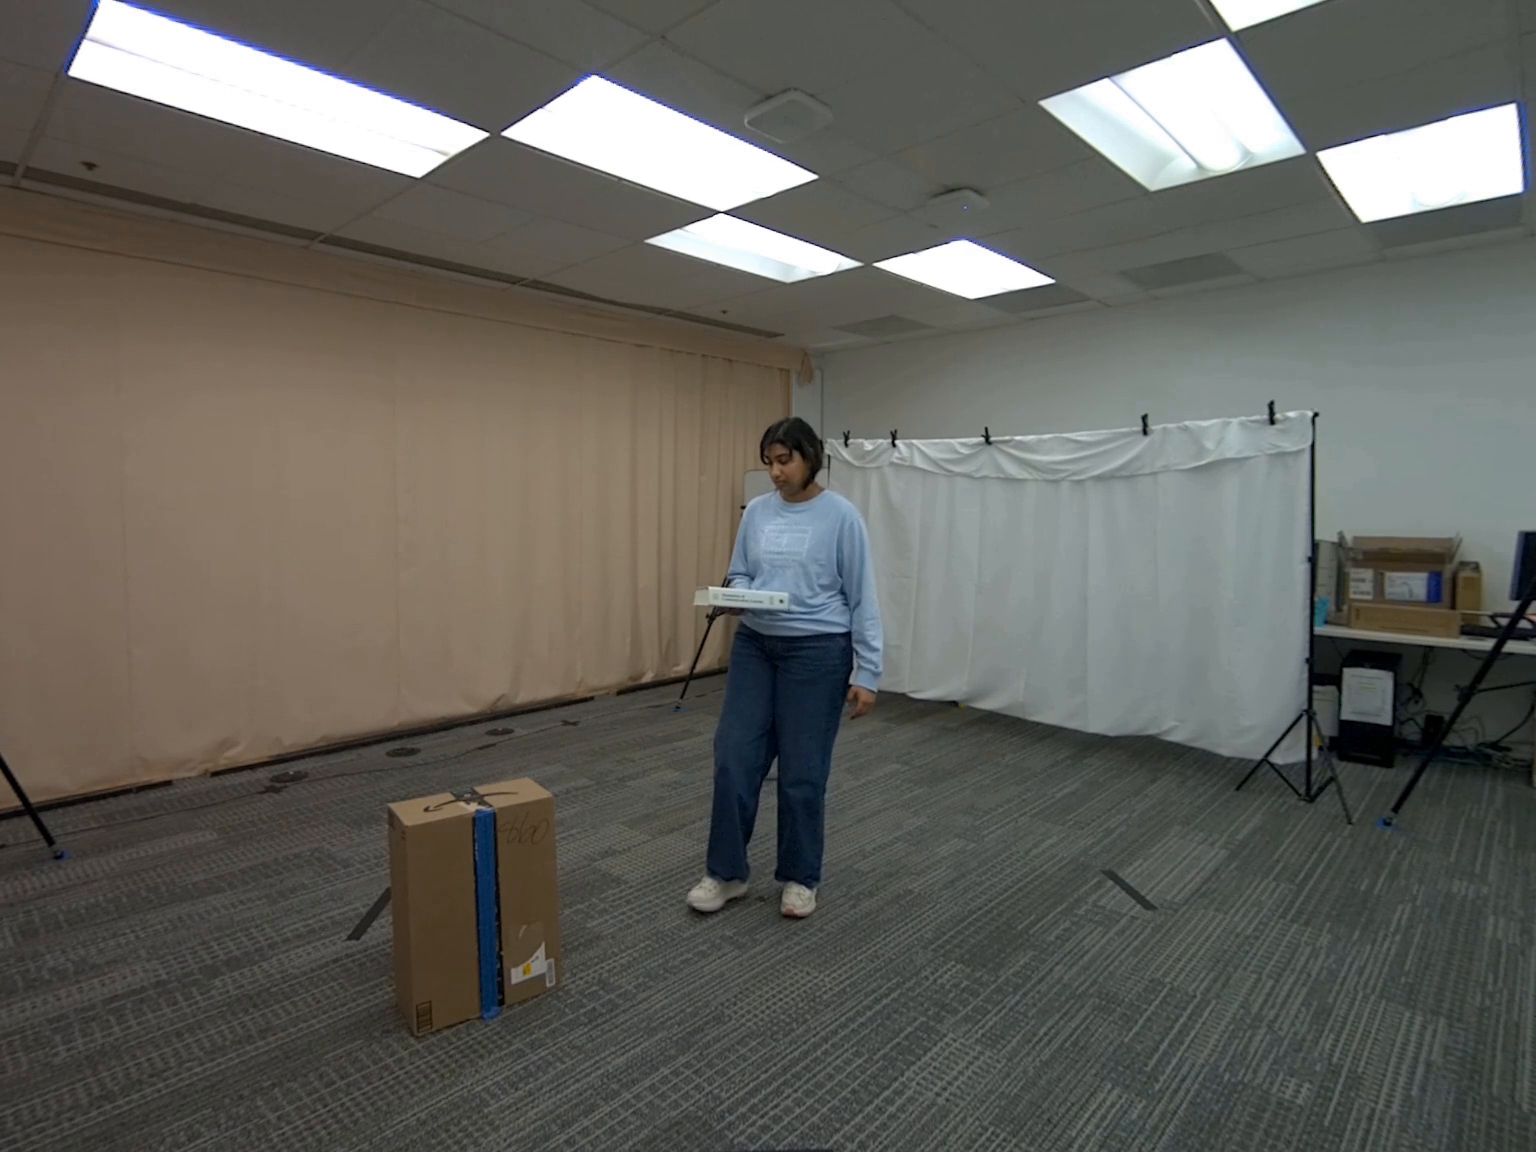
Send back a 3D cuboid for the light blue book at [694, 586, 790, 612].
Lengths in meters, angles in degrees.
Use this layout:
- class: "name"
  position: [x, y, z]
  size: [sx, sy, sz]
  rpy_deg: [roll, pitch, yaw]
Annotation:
- class: "light blue book"
  position: [-0.084, 0.075, 2.700]
  size: [0.257, 0.059, 0.194]
  rpy_deg: [4, -2, -13]
